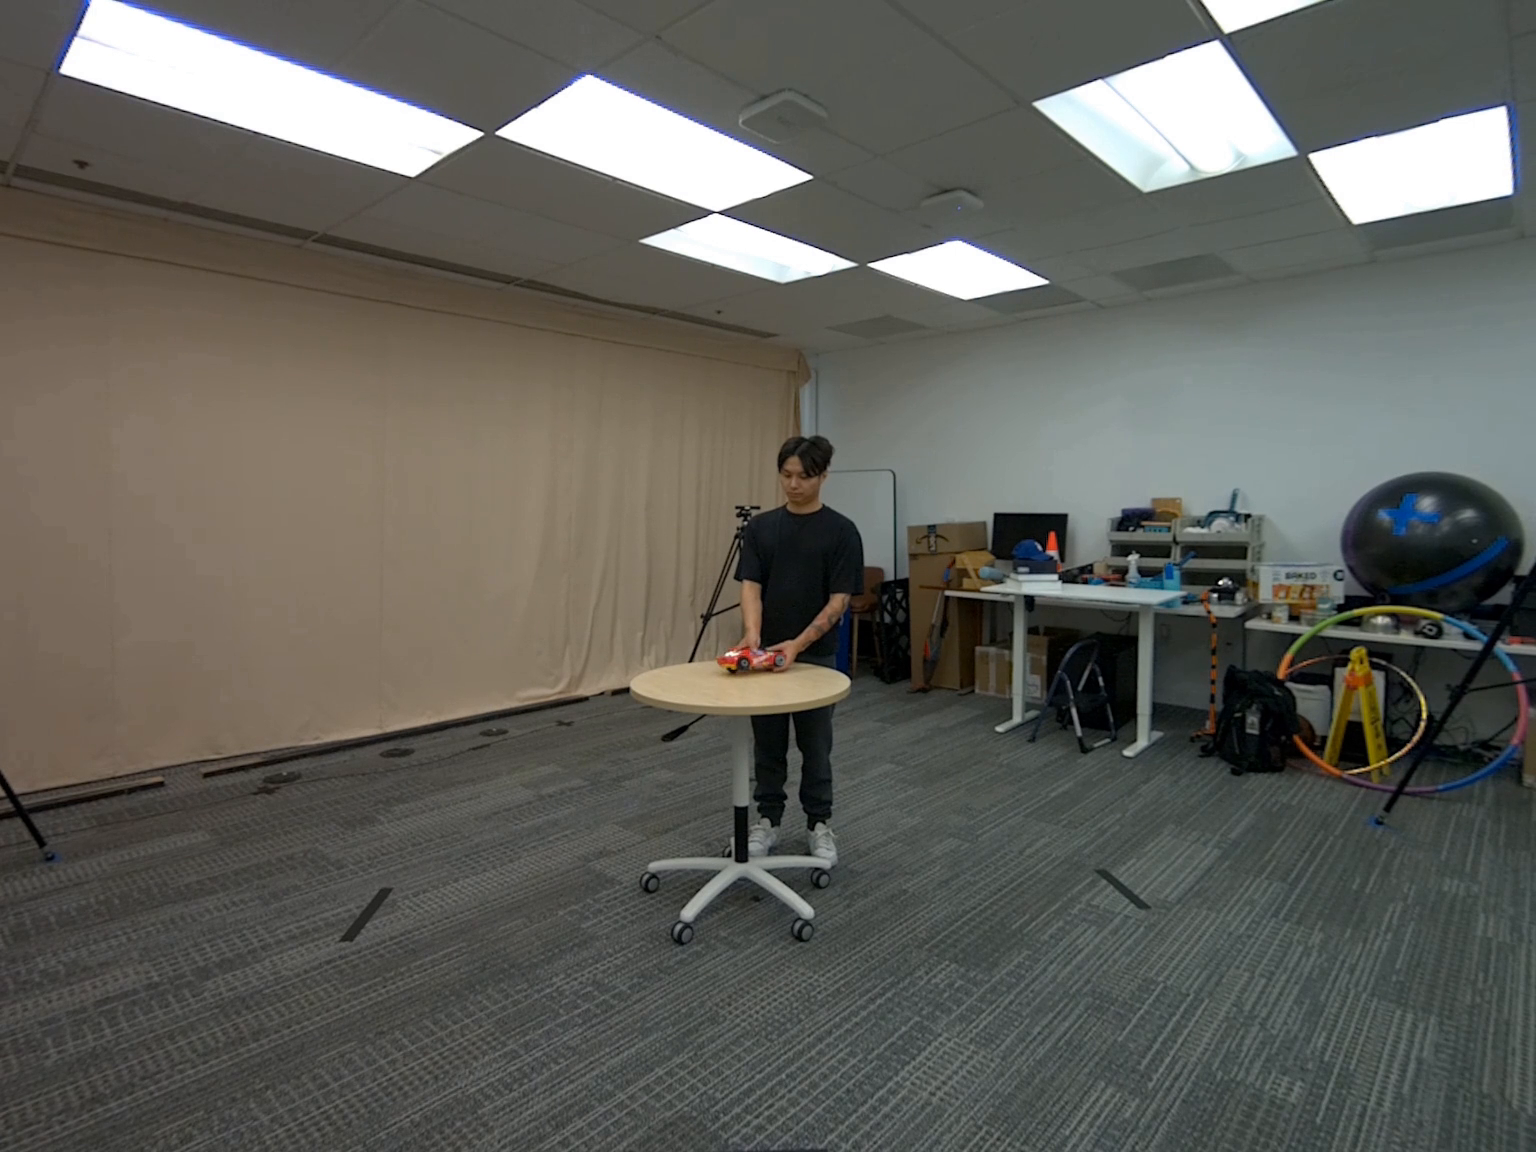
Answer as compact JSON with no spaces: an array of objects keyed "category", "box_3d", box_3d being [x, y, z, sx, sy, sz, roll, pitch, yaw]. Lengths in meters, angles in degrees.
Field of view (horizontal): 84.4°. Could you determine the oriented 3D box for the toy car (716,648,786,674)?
[{"category":"toy car","box_3d":[-0.063,0.307,3.057,0.249,0.084,0.132,8,-11,-19]}]
